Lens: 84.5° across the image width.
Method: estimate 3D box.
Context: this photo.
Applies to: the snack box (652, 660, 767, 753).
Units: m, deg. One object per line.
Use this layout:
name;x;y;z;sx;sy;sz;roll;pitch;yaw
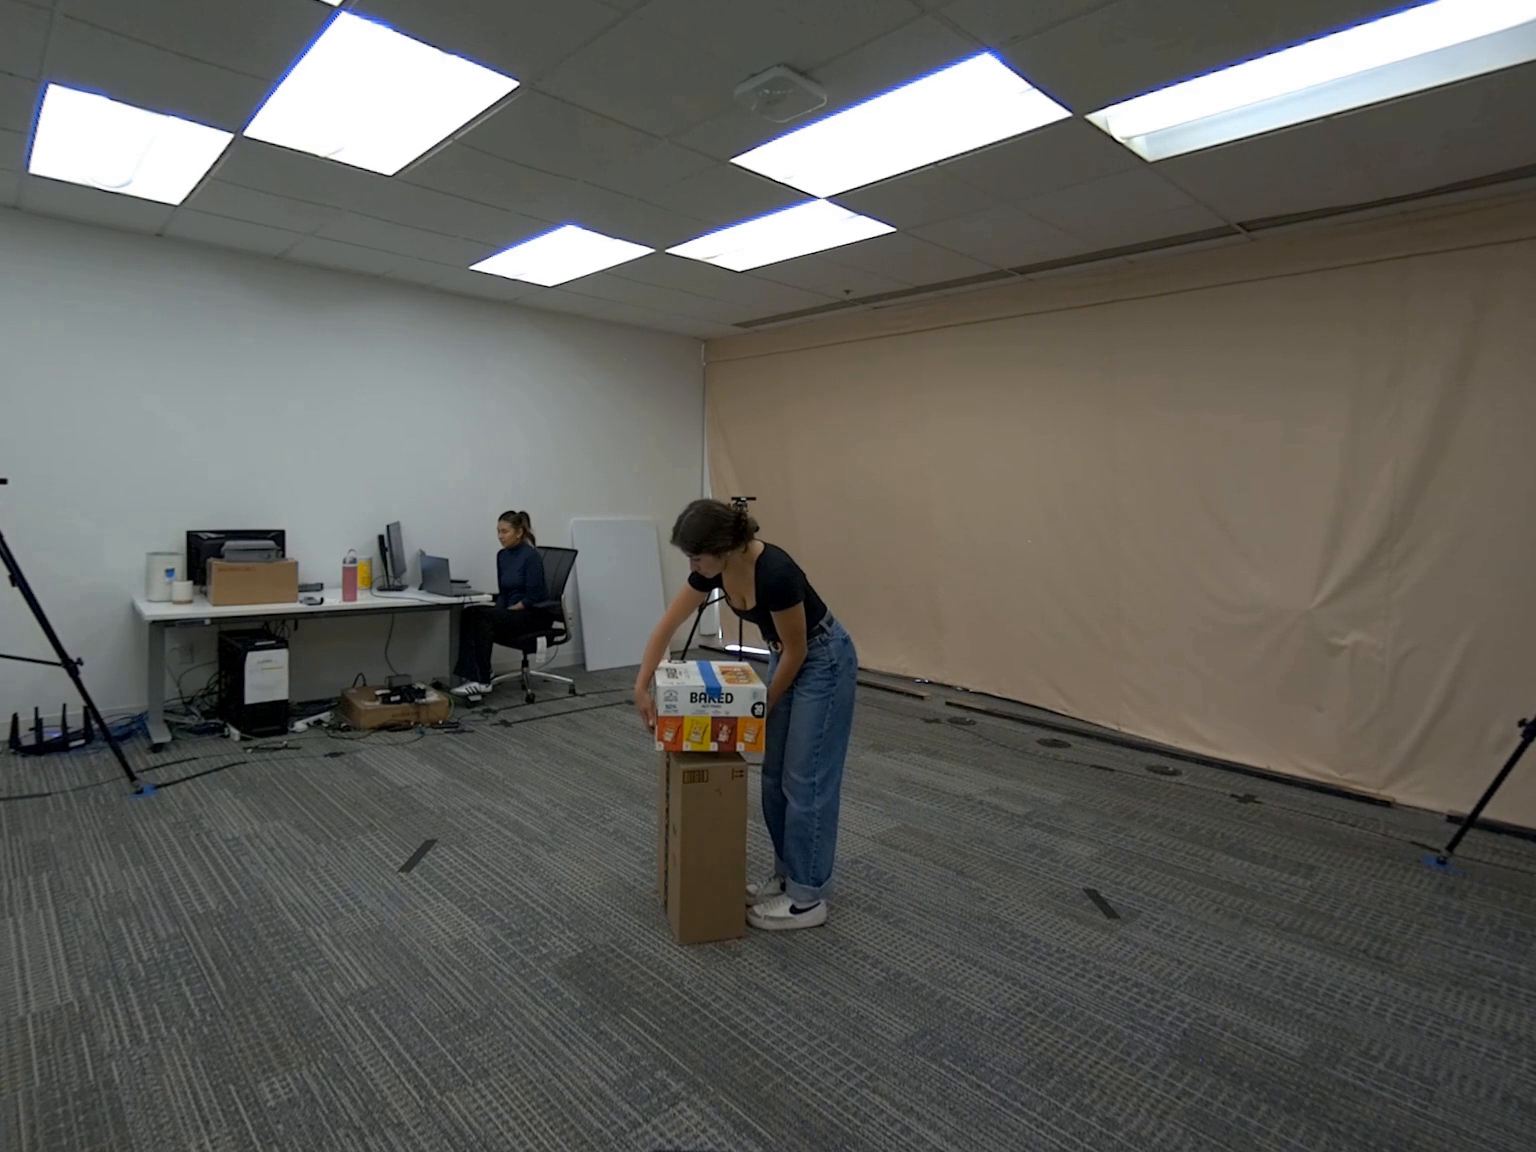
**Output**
snack box;-0.216;0.419;2.794;0.338;0.205;0.409;3;4;-9
